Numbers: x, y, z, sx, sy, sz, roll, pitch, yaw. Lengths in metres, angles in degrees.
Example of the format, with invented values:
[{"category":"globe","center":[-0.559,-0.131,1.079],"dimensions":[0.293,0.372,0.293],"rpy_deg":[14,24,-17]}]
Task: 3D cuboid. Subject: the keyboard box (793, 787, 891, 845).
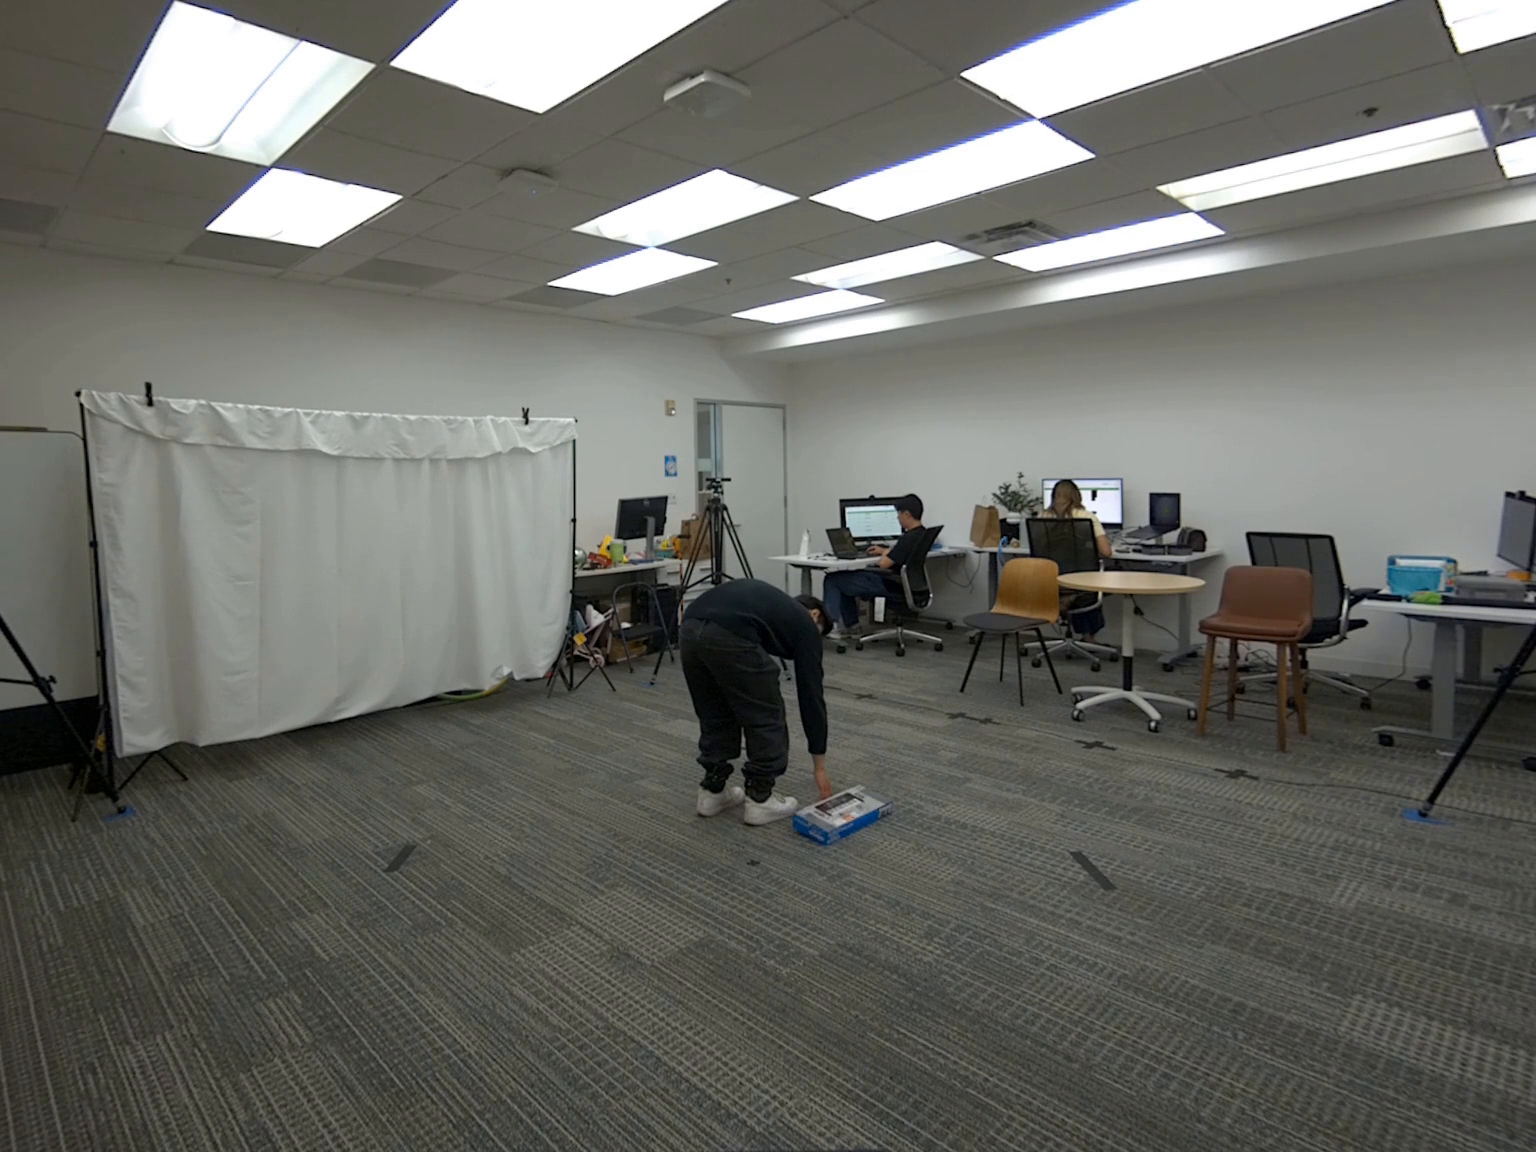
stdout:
[{"category":"keyboard box","center":[0.308,0.954,3.440],"dimensions":[0.182,0.058,0.425],"rpy_deg":[16,17,42]}]
